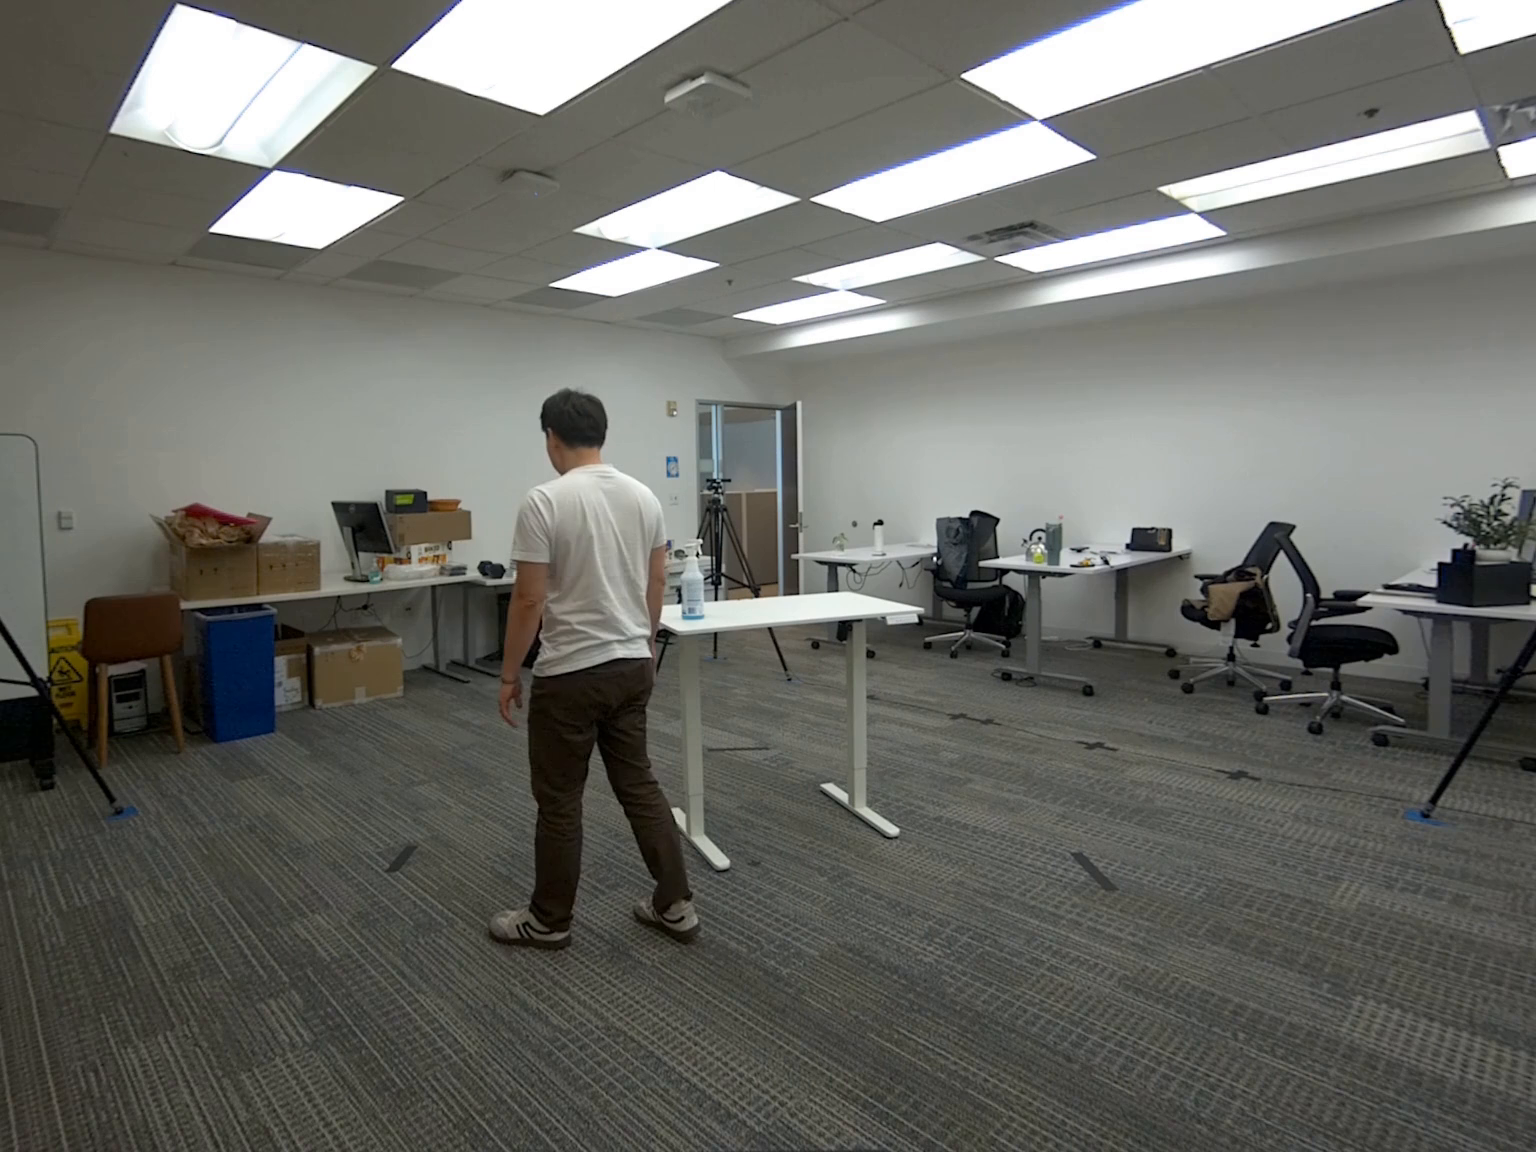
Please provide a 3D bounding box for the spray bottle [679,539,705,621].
[{"bbox_3d":[-0.282,0.014,3.186,0.085,0.297,0.092,0,3,-24],"label":"spray bottle"}]
